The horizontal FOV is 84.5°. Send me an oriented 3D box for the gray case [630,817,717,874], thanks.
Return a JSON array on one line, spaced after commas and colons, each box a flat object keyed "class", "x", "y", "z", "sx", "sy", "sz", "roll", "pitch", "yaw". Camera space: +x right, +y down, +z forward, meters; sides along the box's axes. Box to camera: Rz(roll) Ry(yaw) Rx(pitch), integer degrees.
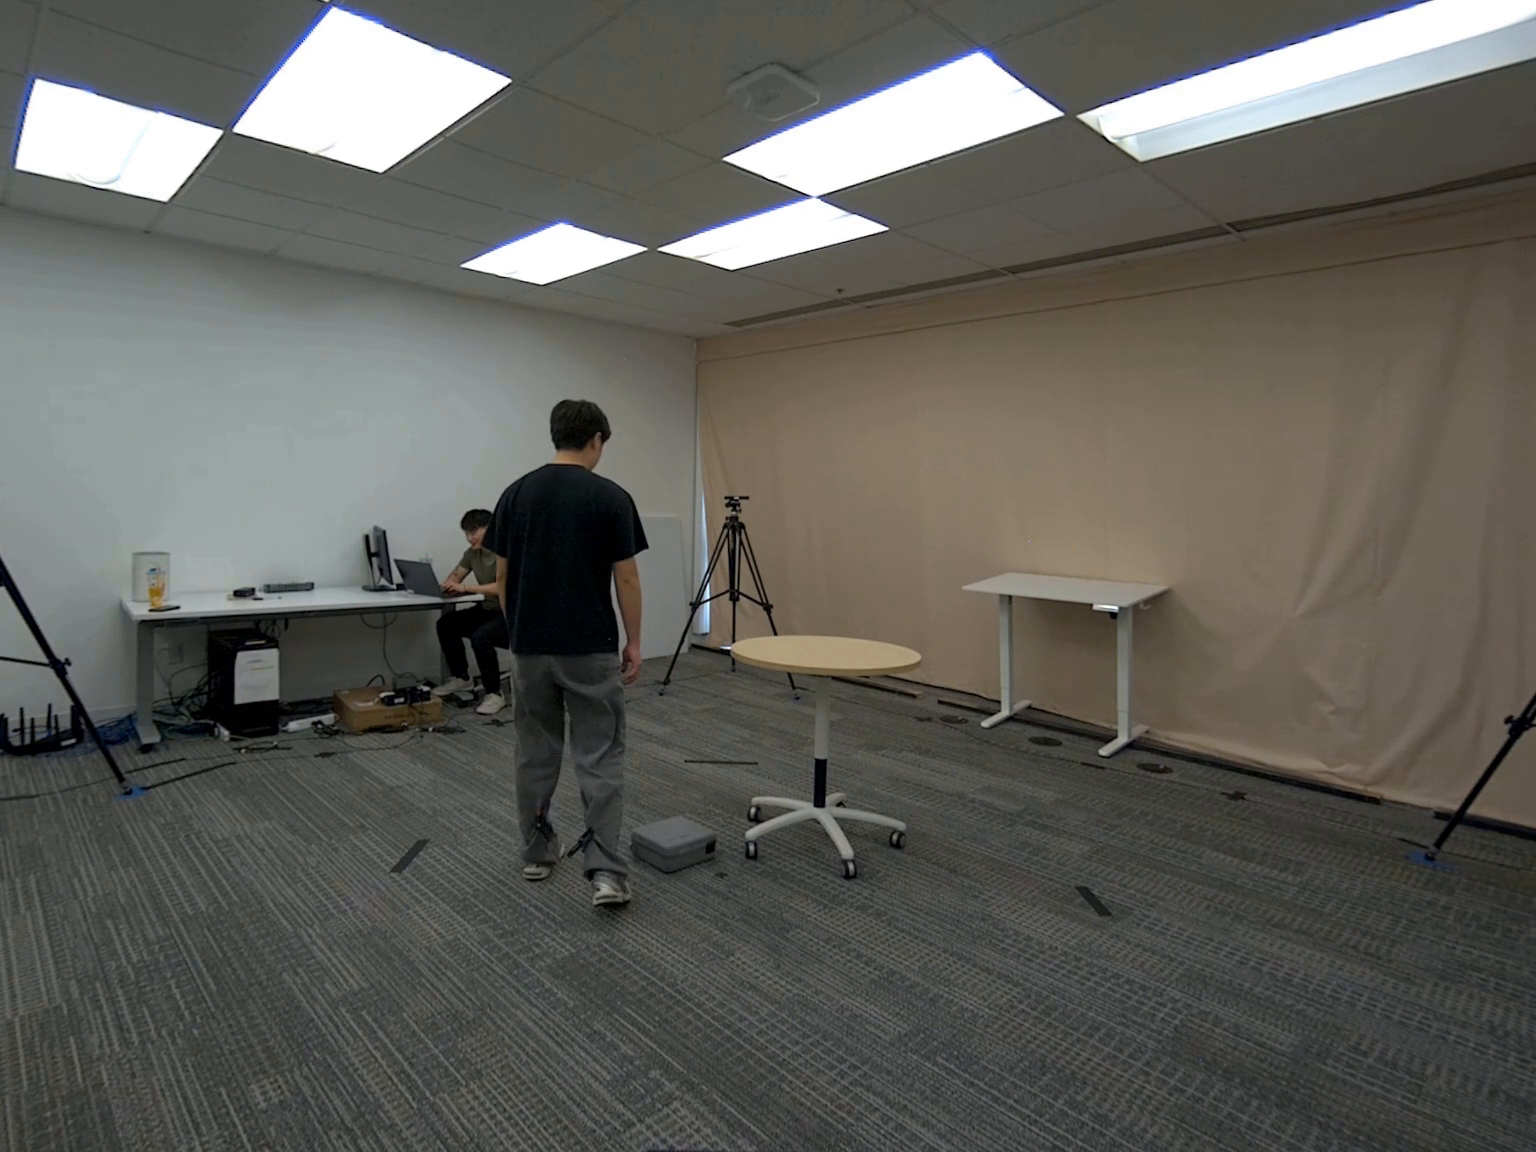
[{"class": "gray case", "x": -0.380, "y": 1.030, "z": 3.260, "sx": 0.257, "sy": 0.103, "sz": 0.294, "roll": -3, "pitch": 5, "yaw": -42}]
